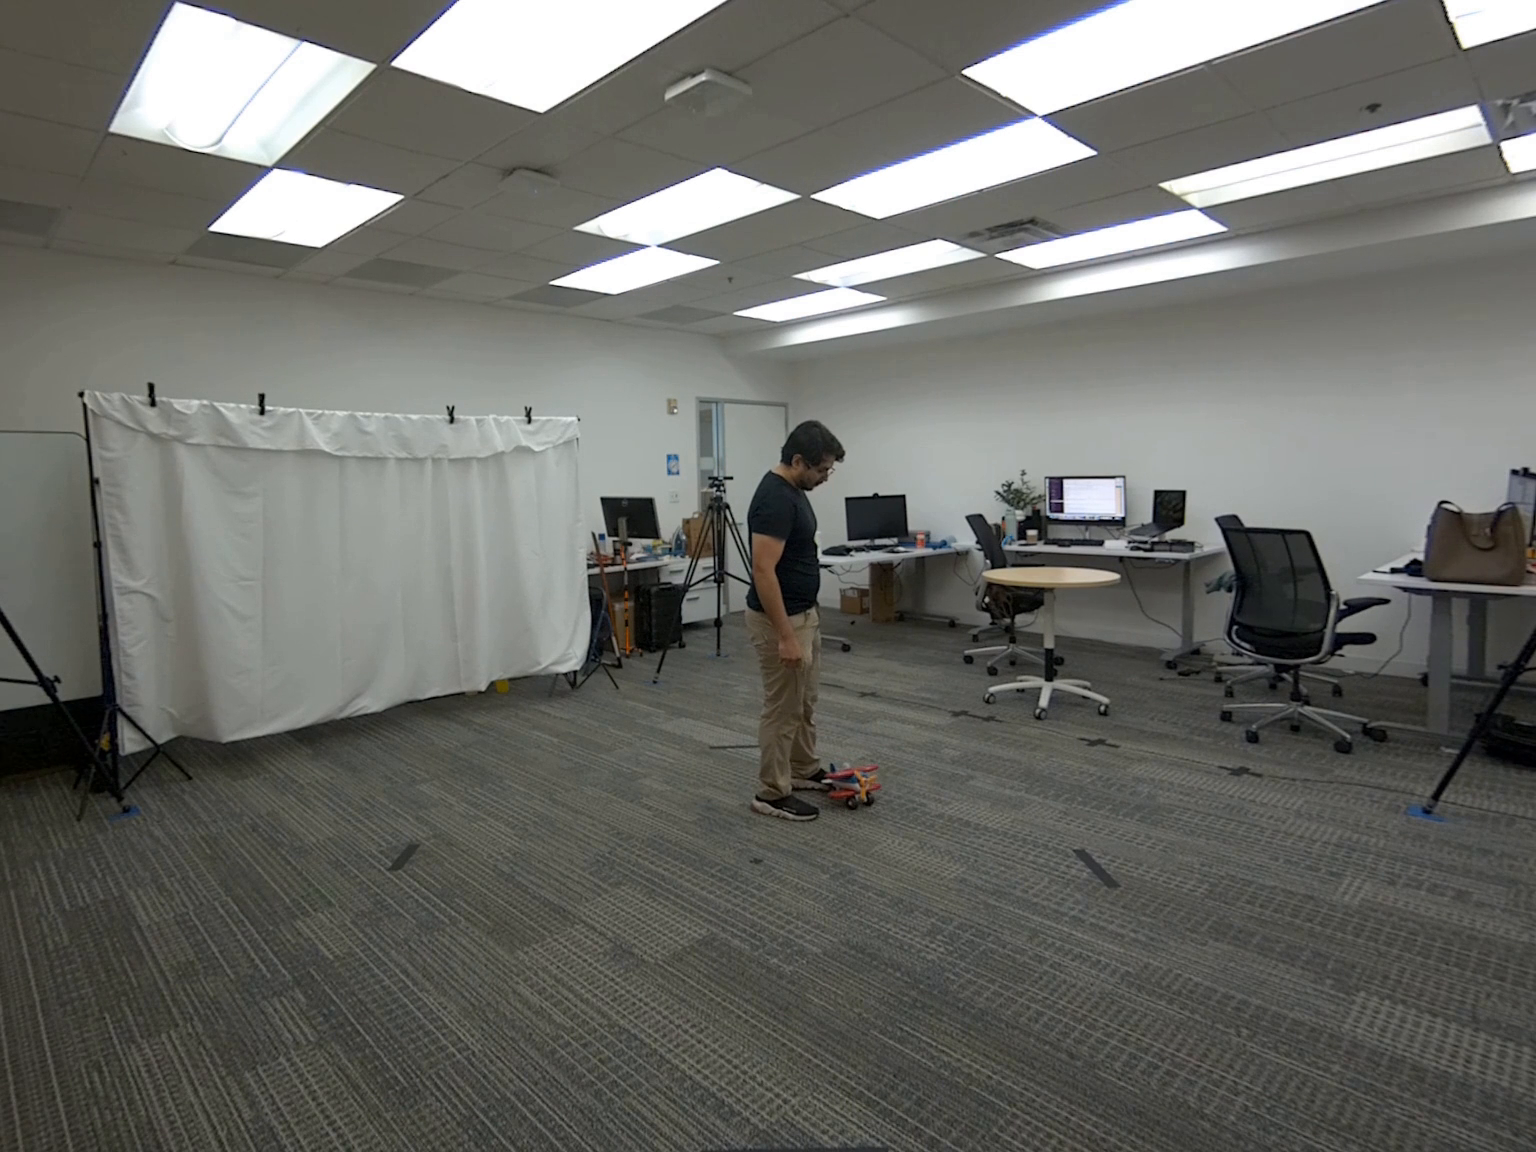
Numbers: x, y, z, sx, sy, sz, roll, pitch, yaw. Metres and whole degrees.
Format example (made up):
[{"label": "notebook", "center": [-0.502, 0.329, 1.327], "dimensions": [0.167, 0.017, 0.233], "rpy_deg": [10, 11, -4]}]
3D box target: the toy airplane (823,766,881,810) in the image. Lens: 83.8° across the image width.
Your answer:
[{"label": "toy airplane", "center": [0.338, 0.894, 3.657], "dimensions": [0.267, 0.156, 0.245], "rpy_deg": [4, 7, 34]}]
